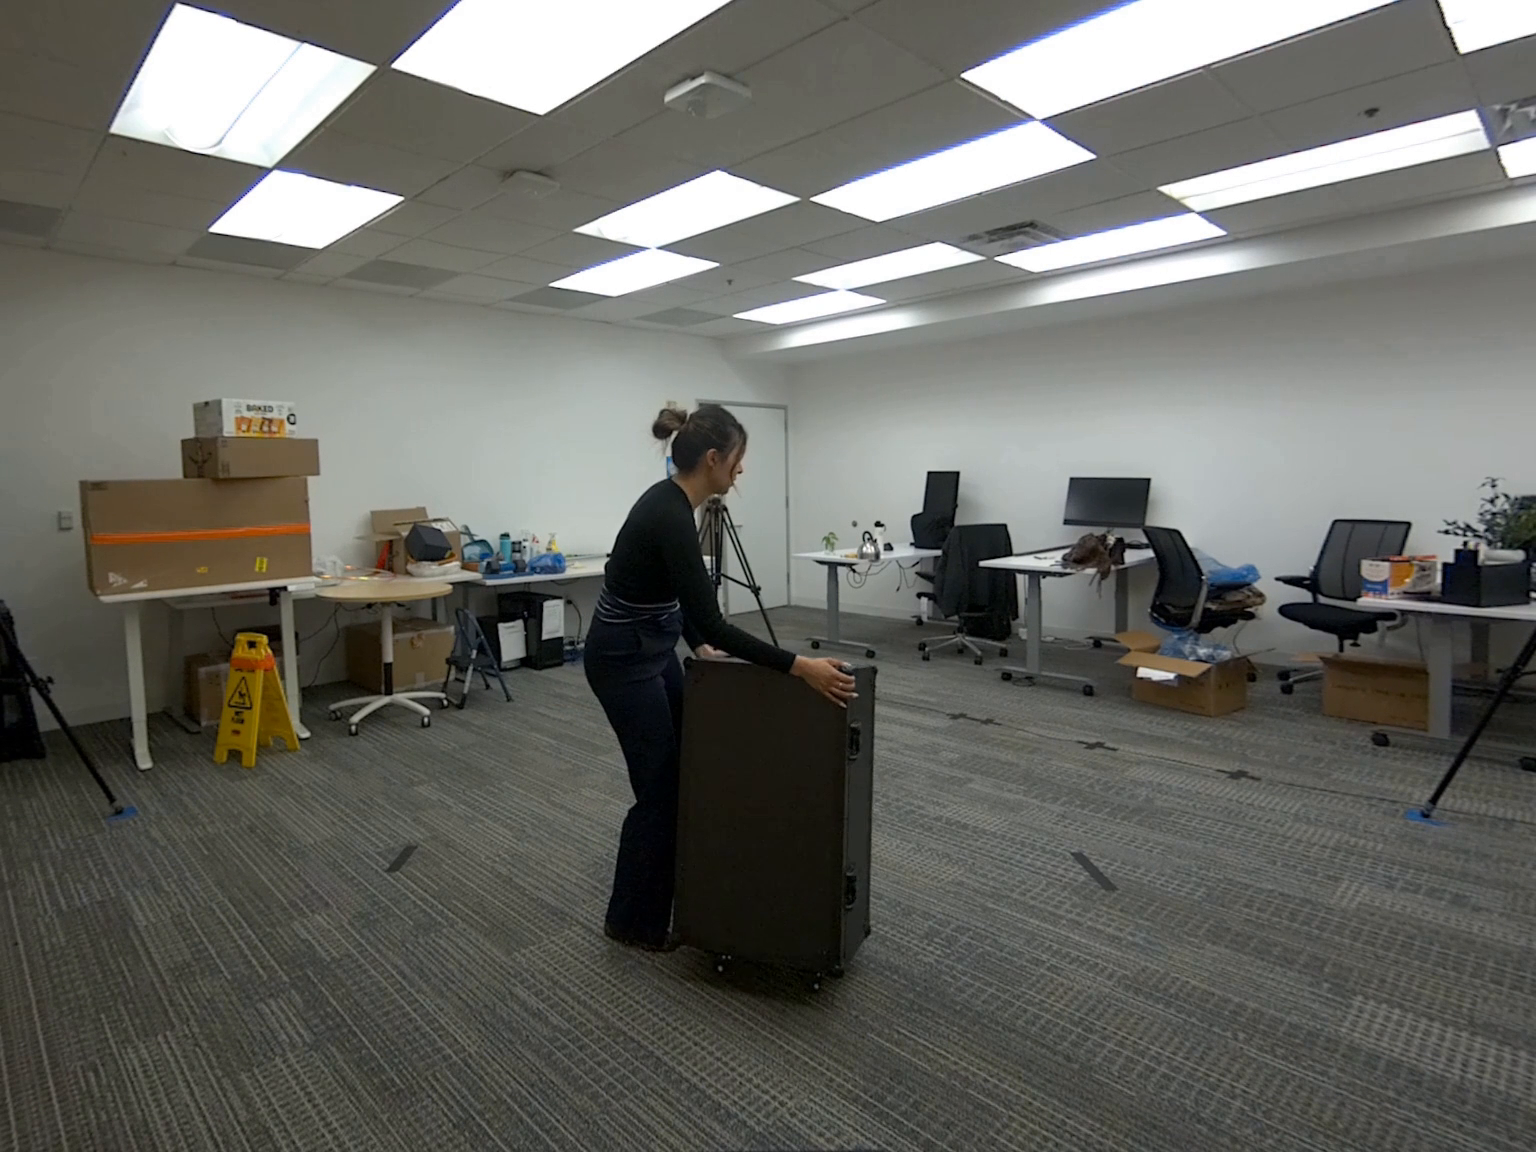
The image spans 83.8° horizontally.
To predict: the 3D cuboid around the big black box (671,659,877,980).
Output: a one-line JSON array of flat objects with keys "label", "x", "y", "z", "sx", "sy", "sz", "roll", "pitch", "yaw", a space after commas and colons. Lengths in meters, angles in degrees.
[{"label": "big black box", "x": 0.031, "y": 0.681, "z": 2.478, "sx": 0.531, "sy": 0.867, "sz": 0.386, "roll": -1, "pitch": -7, "yaw": 21}]
